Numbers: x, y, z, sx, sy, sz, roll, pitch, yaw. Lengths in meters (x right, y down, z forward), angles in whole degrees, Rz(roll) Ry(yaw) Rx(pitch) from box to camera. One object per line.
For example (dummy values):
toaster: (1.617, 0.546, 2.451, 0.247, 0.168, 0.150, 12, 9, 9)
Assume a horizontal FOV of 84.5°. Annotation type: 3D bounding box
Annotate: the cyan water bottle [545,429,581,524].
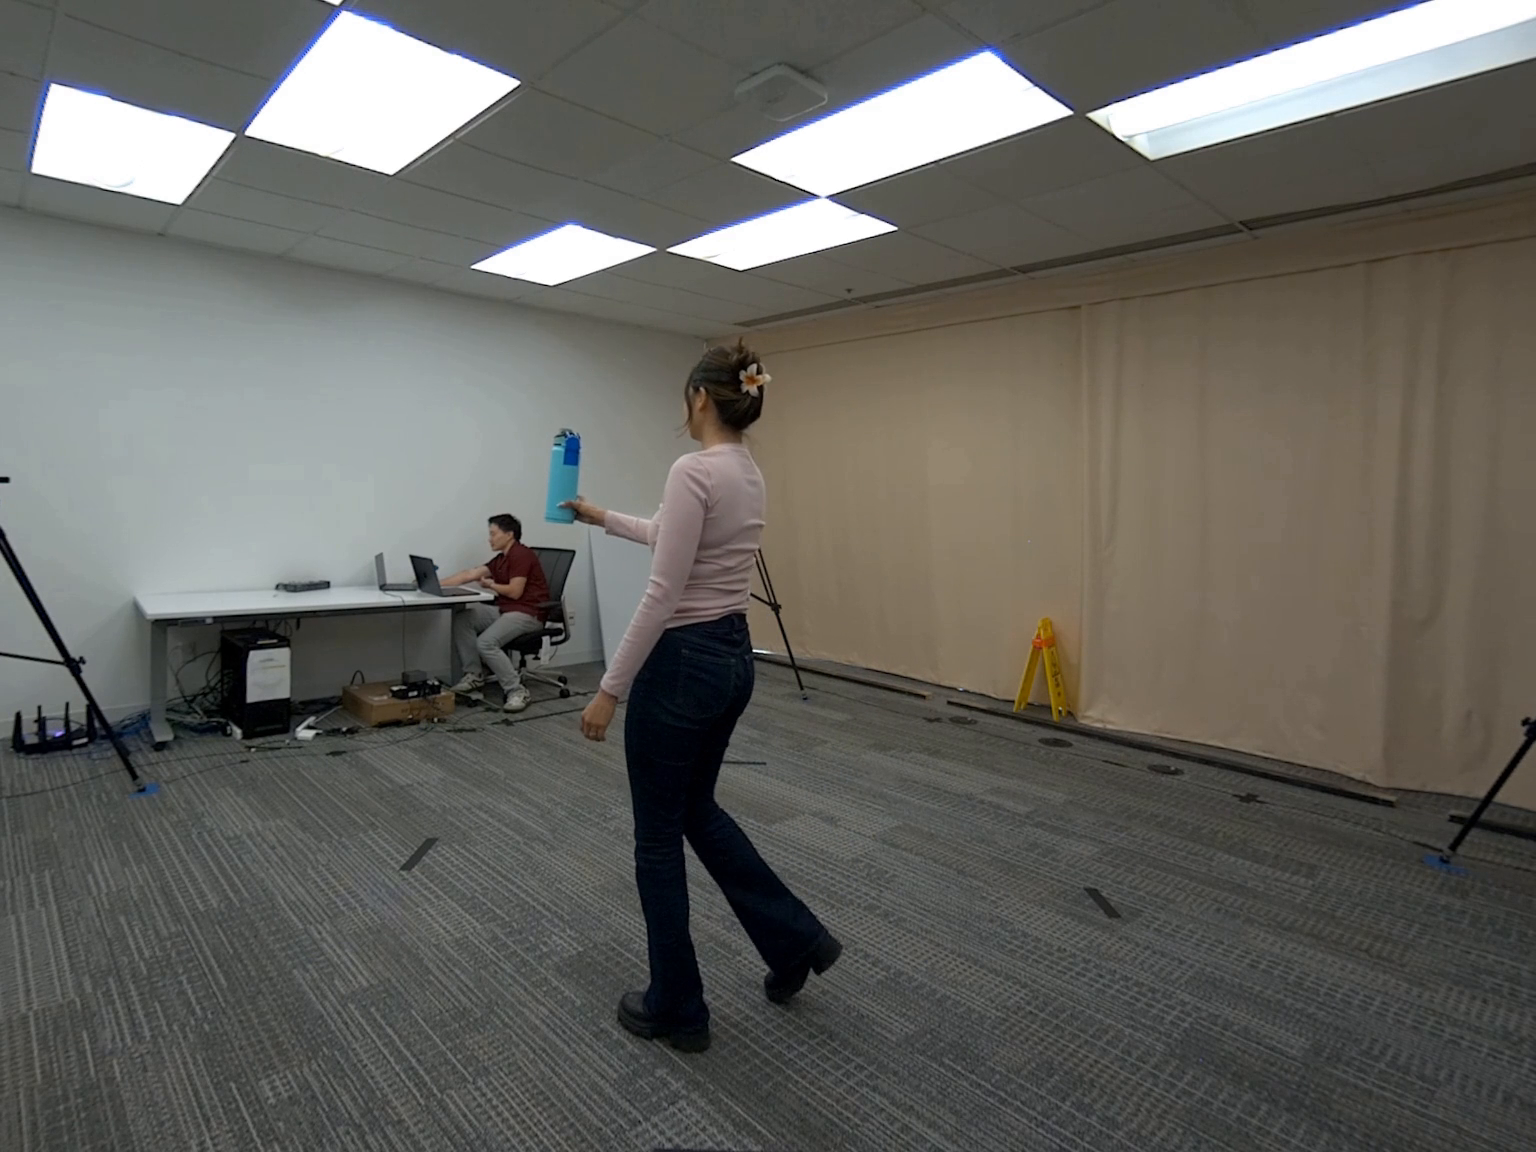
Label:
cyan water bottle: (-0.620, -0.303, 2.528, 0.092, 0.283, 0.092, 8, 3, -2)
